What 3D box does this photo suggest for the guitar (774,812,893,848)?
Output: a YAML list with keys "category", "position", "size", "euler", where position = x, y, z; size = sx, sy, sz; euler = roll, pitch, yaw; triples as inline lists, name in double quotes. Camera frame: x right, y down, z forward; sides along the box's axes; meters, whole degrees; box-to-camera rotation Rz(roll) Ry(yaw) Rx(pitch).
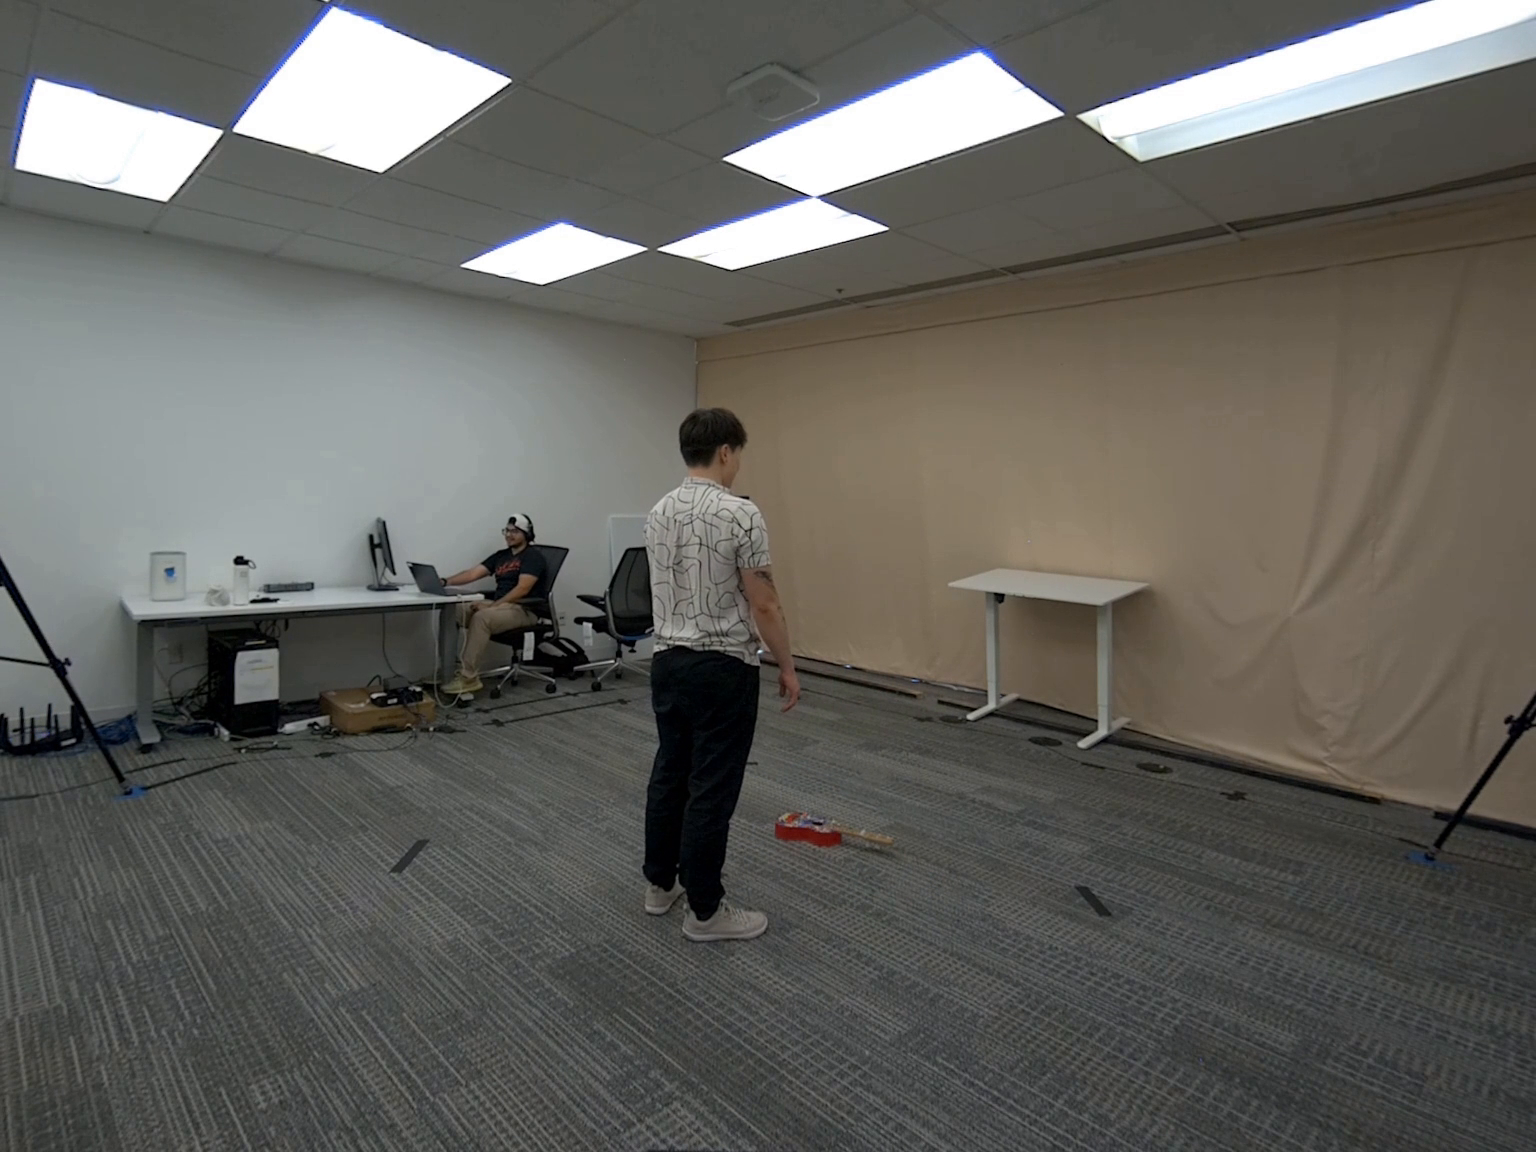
- category: "guitar"
  position: [0.245, 1.054, 3.409]
  size: [0.510, 0.070, 0.189]
  euler: [5, 5, 38]
